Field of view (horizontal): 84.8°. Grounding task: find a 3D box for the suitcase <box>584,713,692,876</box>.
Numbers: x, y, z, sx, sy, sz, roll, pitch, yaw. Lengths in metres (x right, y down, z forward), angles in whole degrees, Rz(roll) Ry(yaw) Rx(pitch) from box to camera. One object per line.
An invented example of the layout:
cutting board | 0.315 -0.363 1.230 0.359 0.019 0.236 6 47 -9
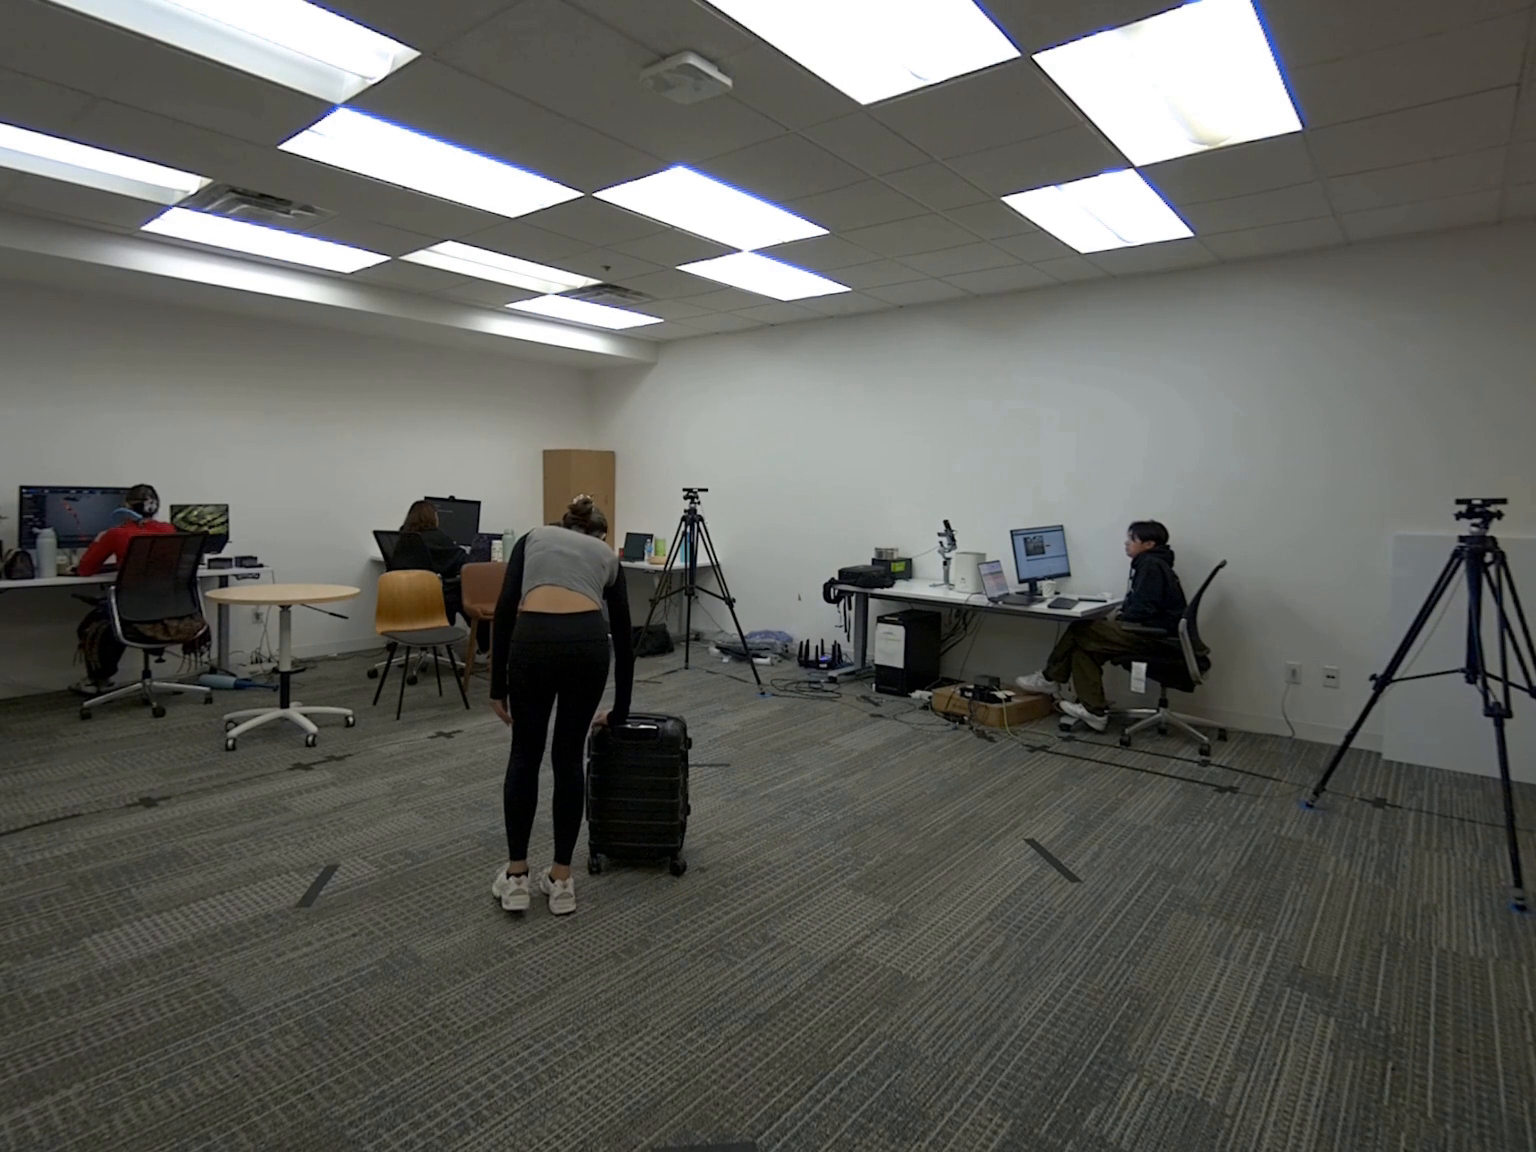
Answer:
suitcase | -0.497 0.783 3.181 0.377 0.549 0.247 1 1 3
